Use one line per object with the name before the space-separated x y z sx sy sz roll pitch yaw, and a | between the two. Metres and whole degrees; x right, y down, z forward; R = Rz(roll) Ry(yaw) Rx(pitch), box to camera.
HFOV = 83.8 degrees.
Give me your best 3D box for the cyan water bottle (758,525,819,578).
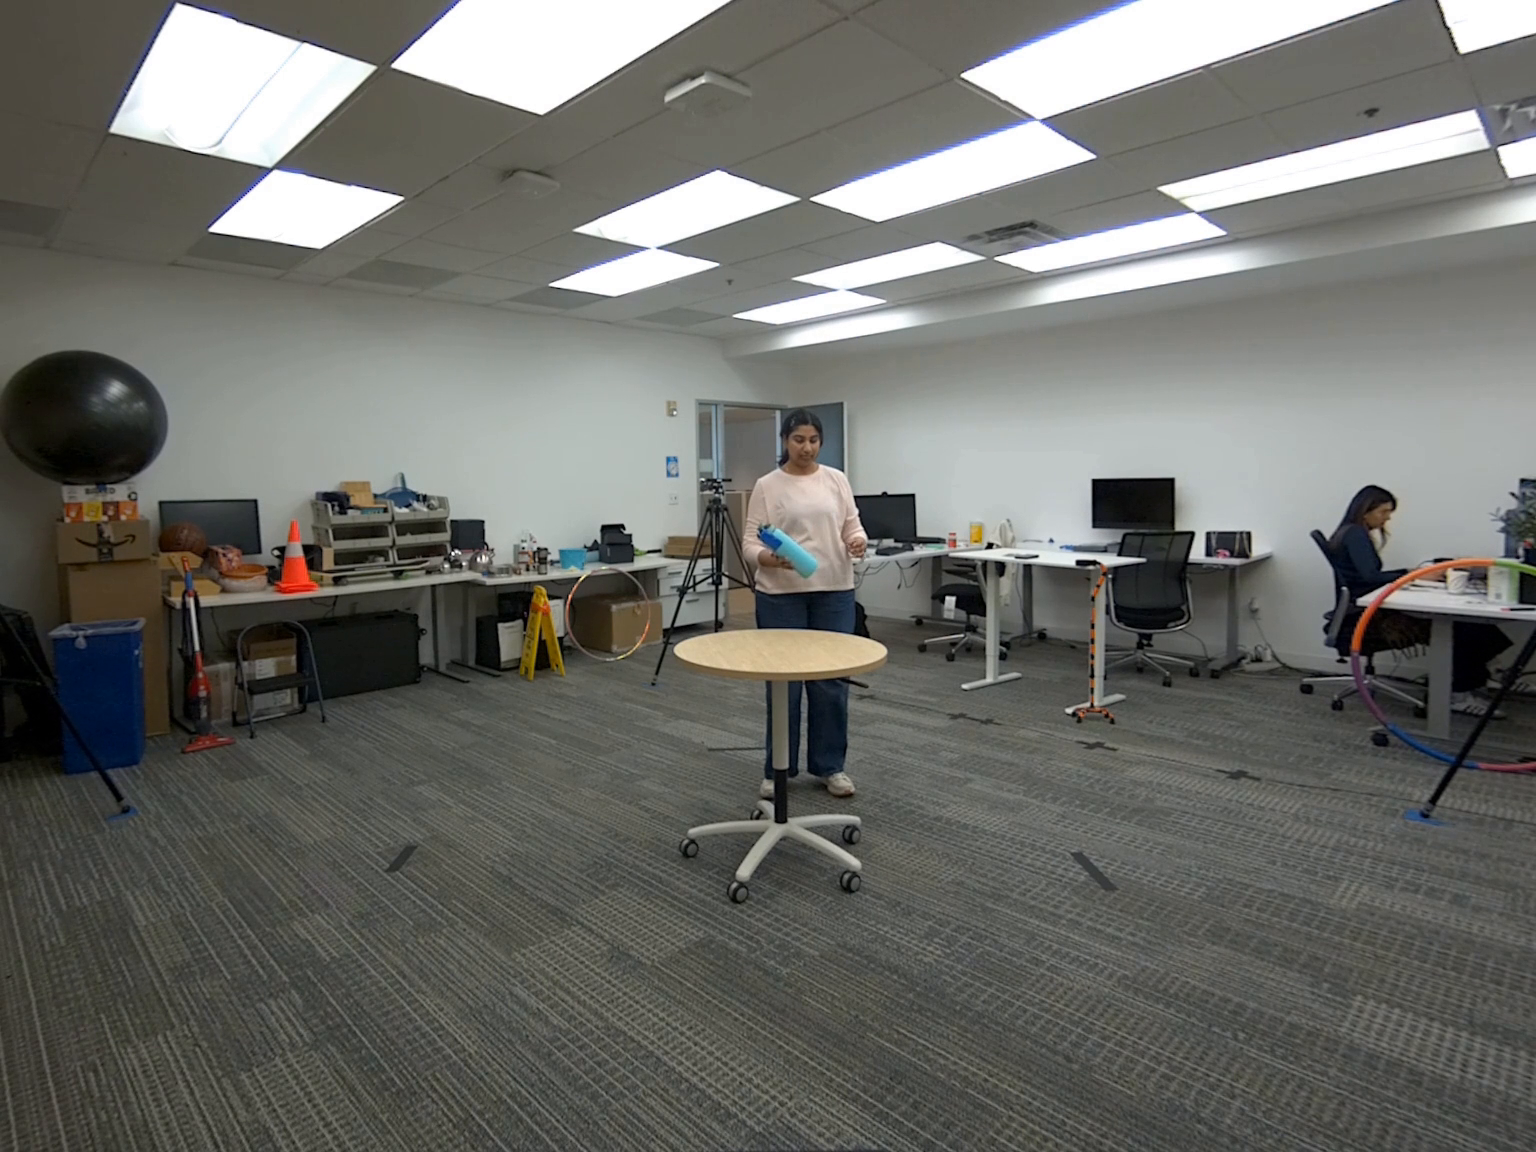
cyan water bottle | 0.072 -0.111 3.450 0.281 0.092 0.093 40 -1 -7
